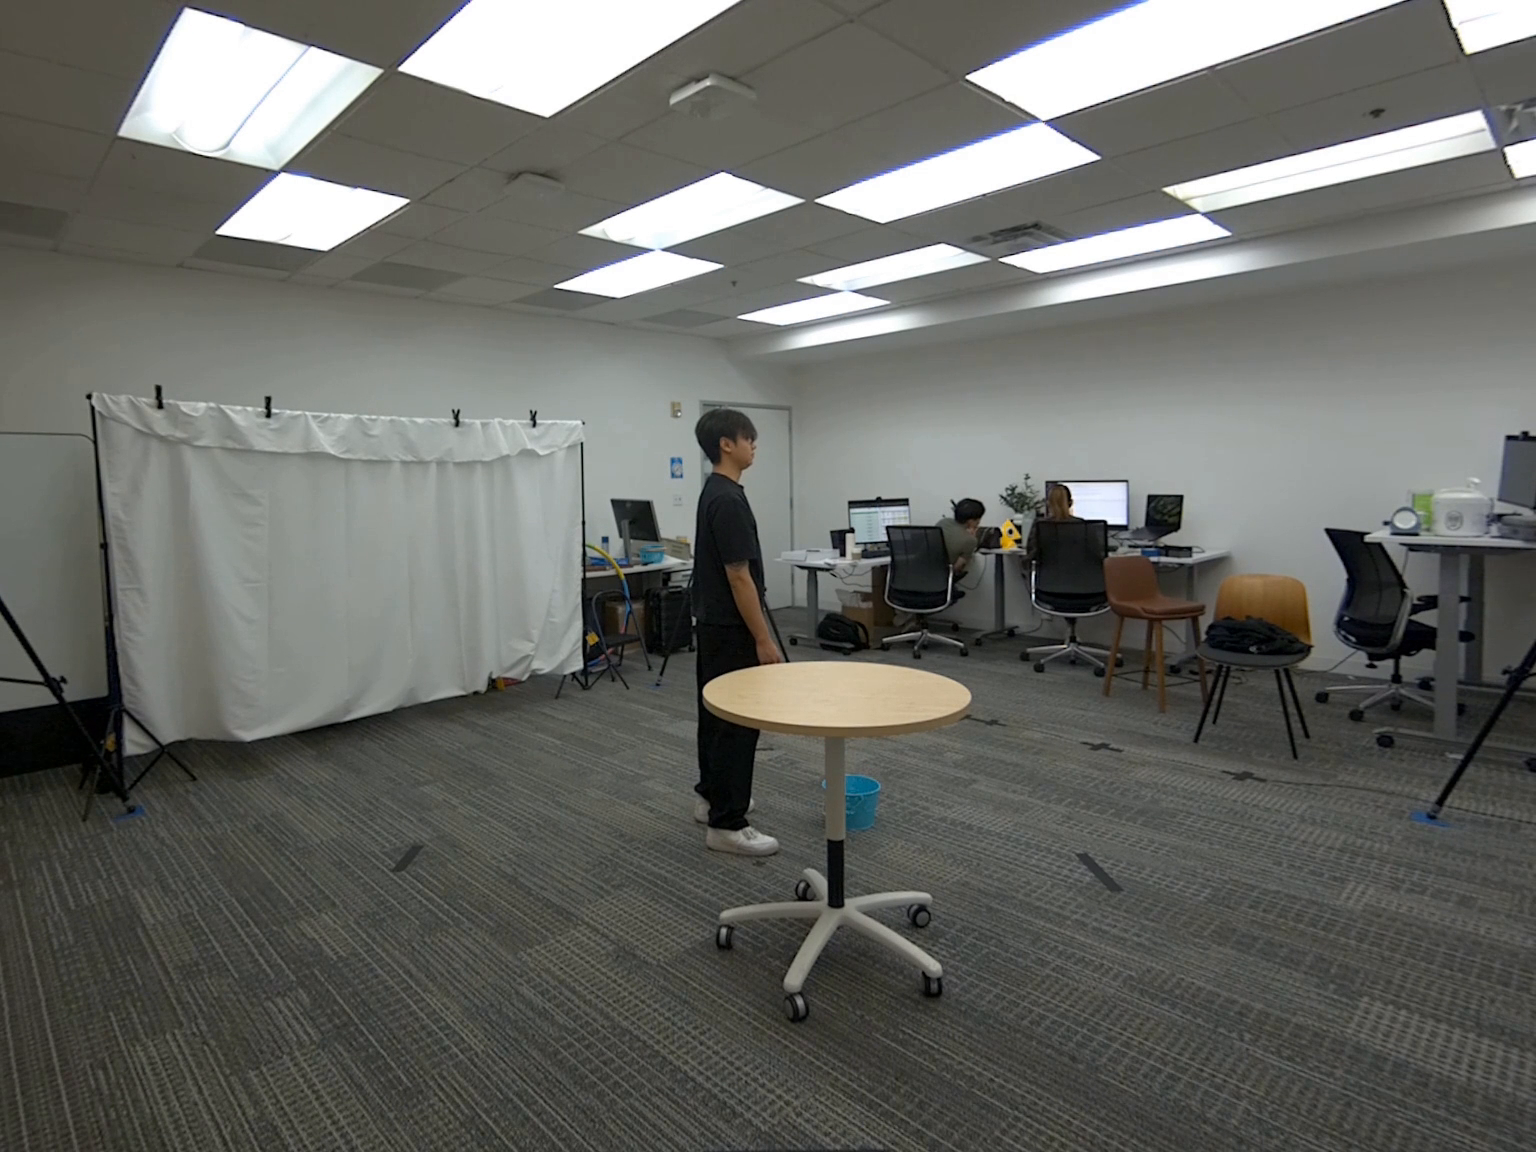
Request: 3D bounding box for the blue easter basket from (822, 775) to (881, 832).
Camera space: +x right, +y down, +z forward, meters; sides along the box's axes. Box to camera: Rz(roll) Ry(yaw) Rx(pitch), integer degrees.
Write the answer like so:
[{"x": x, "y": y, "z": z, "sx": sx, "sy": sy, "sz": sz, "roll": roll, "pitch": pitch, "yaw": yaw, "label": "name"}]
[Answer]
[{"x": 0.341, "y": 0.920, "z": 3.480, "sx": 0.243, "sy": 0.155, "sz": 0.245, "roll": -2, "pitch": 5, "yaw": -2, "label": "blue easter basket"}]
